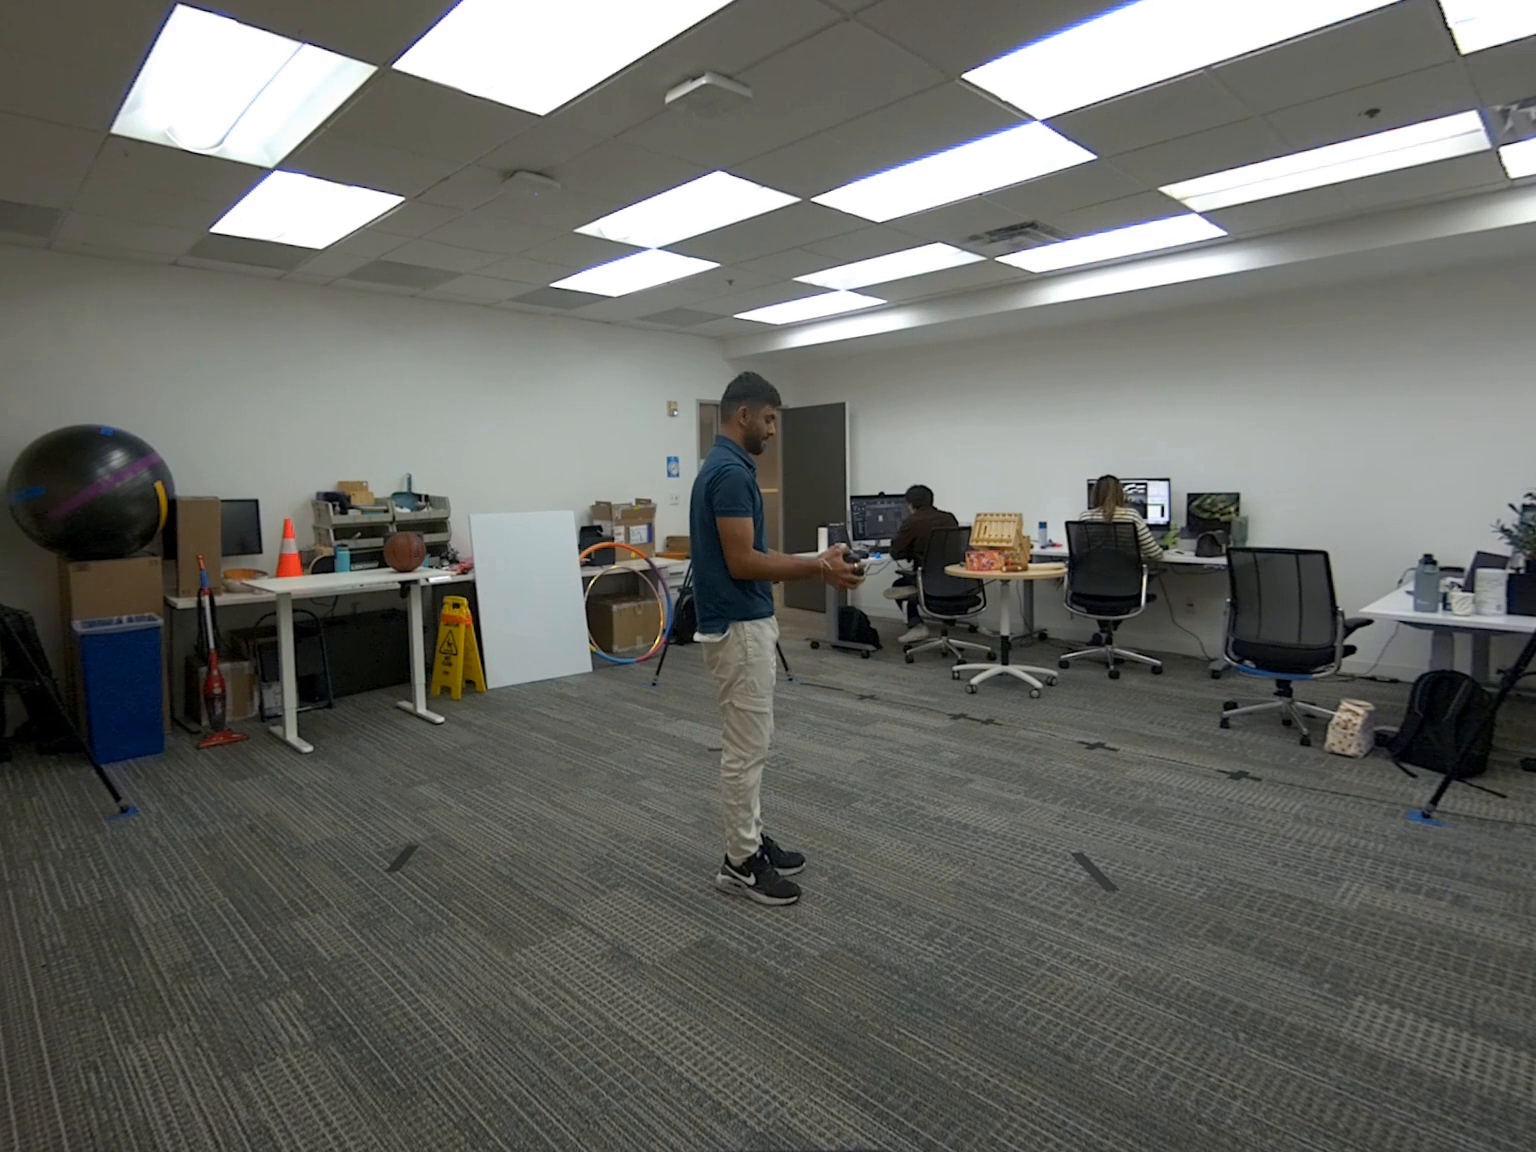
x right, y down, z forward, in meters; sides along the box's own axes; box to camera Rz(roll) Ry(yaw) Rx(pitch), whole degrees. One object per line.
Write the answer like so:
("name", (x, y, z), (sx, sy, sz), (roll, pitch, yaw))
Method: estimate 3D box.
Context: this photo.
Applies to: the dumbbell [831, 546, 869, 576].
("dumbbell", (0.238, -0.030, 2.908), (0.109, 0.123, 0.293), (-13, 3, 4))
